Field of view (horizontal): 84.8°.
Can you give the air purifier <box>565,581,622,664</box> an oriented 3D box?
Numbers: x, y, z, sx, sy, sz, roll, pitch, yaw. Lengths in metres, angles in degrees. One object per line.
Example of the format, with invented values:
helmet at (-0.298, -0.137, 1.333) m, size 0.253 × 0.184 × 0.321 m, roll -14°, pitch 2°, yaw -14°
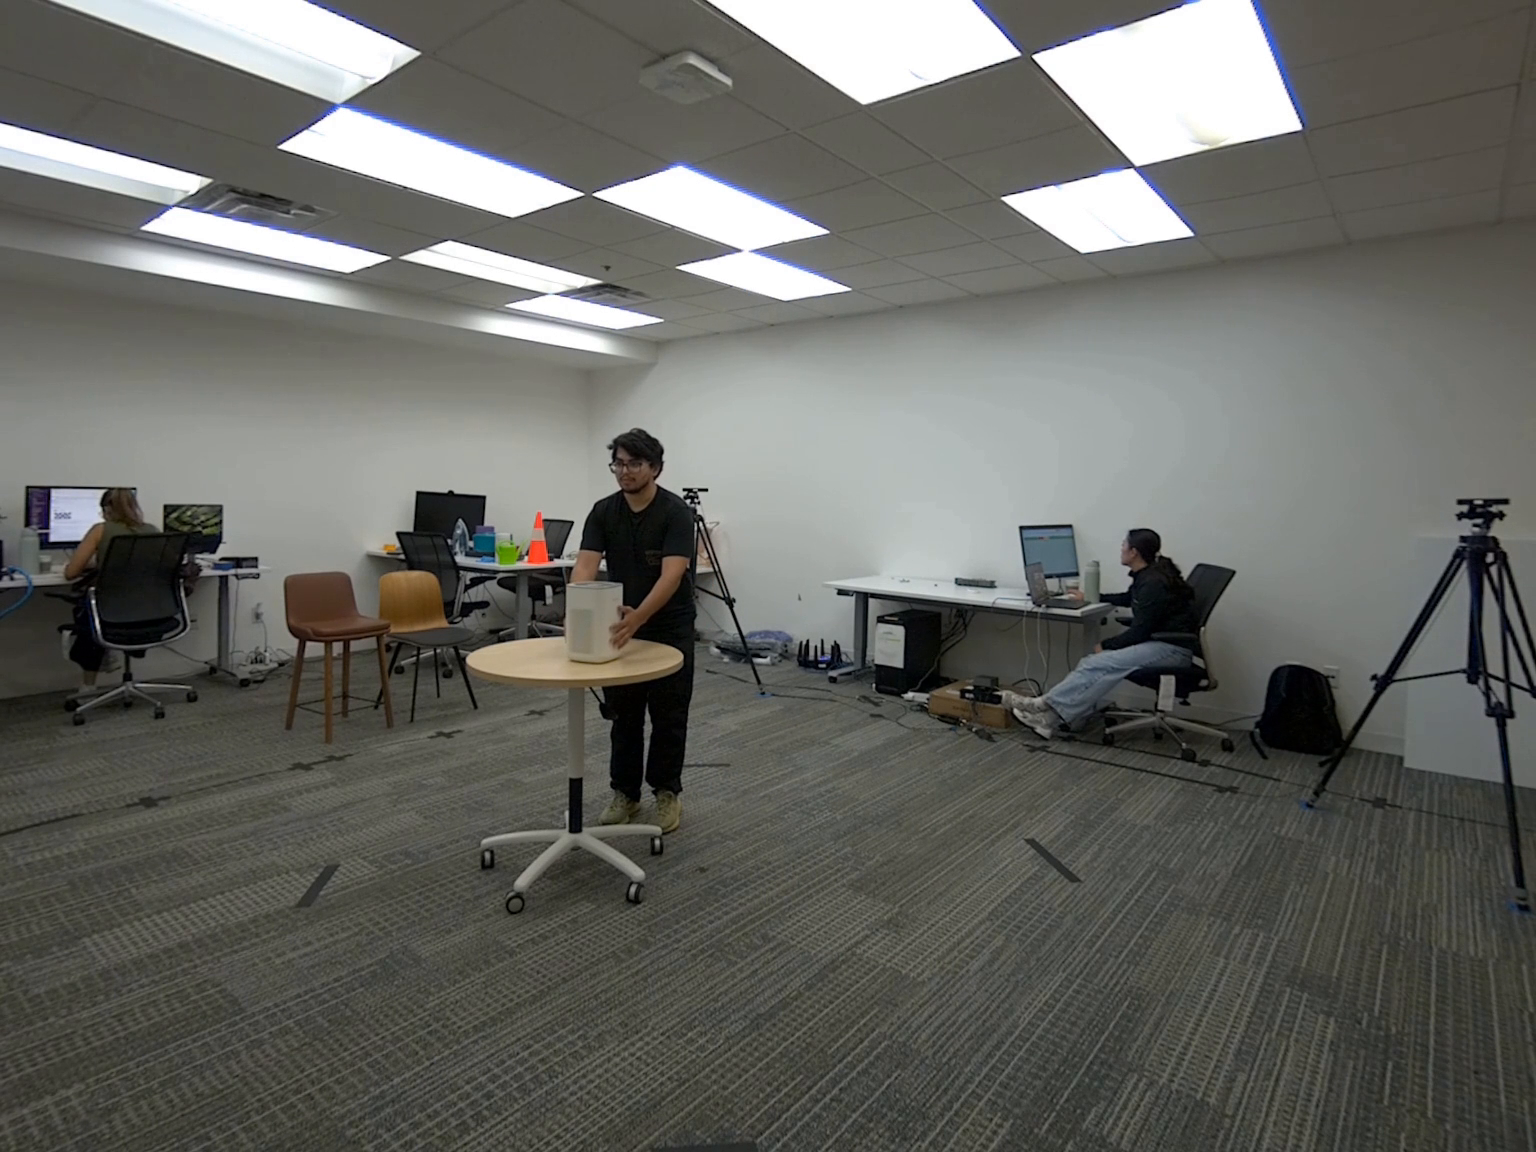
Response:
air purifier at (-0.620, 0.154, 2.984) m, size 0.175 × 0.264 × 0.168 m, roll 4°, pitch 4°, yaw 20°
